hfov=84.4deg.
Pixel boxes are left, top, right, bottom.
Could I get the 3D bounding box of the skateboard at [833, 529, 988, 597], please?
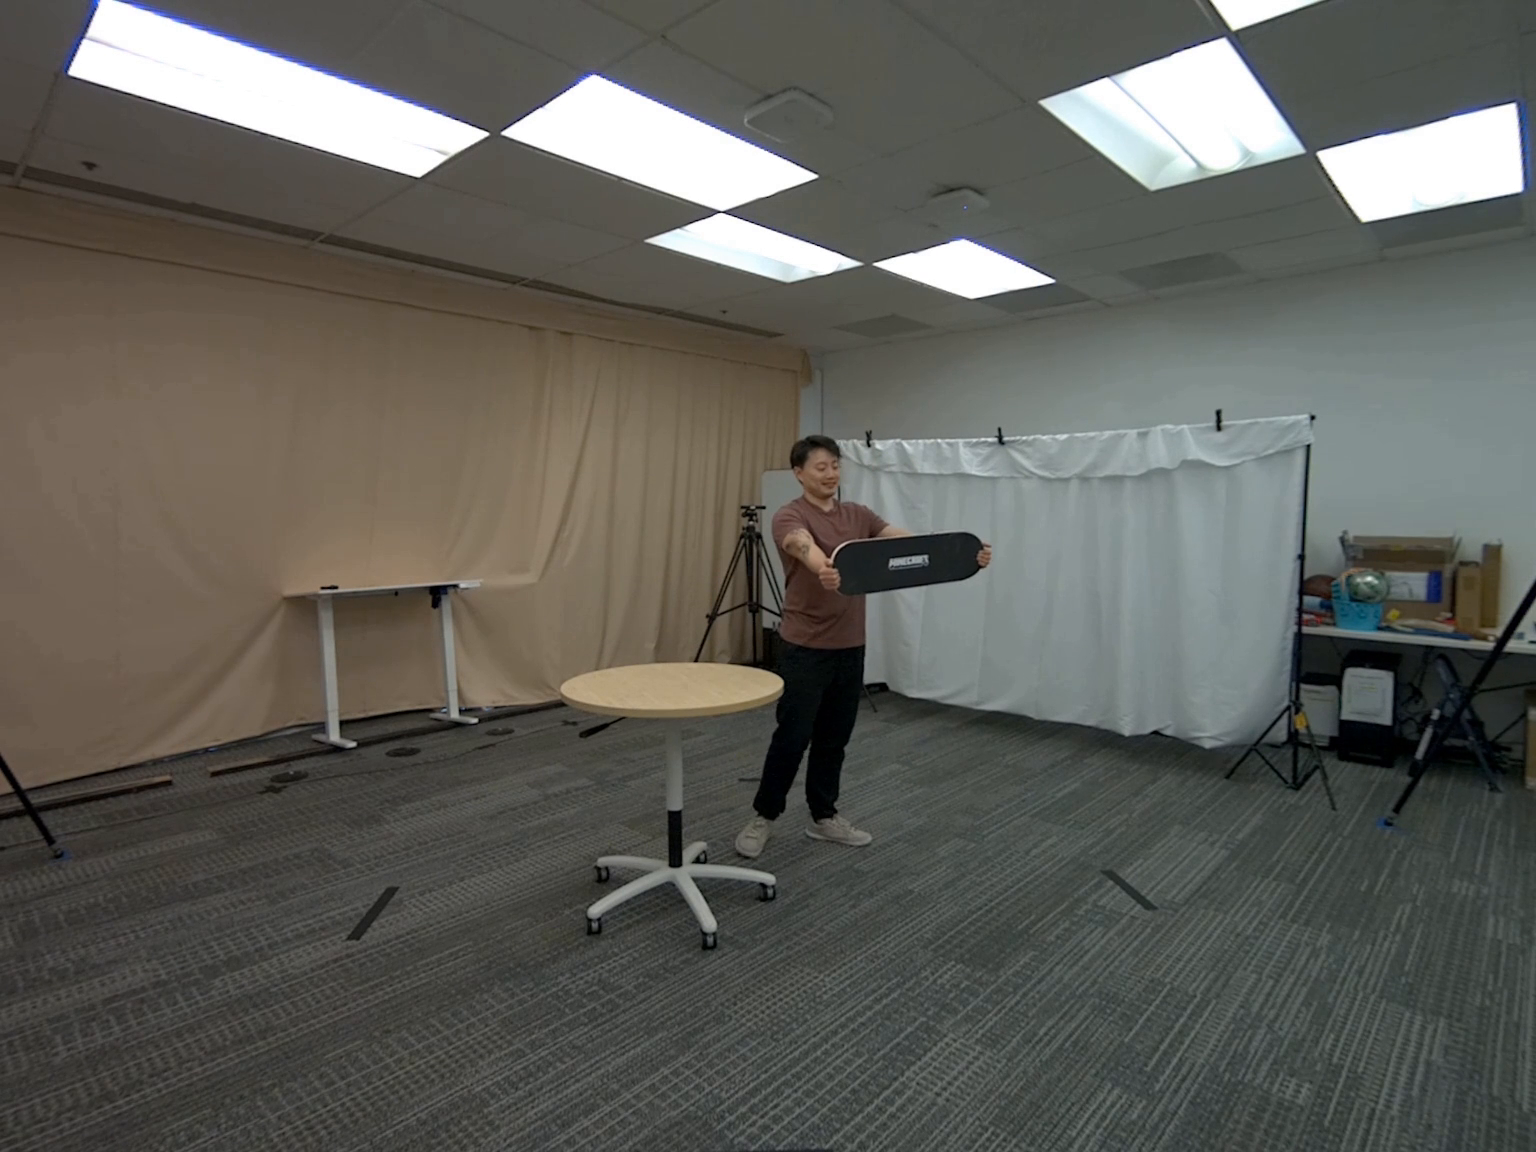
[{"bbox_3d":[0.493,-0.053,3.103,0.764,0.193,0.114,-6,5,-34],"label":"skateboard"}]
